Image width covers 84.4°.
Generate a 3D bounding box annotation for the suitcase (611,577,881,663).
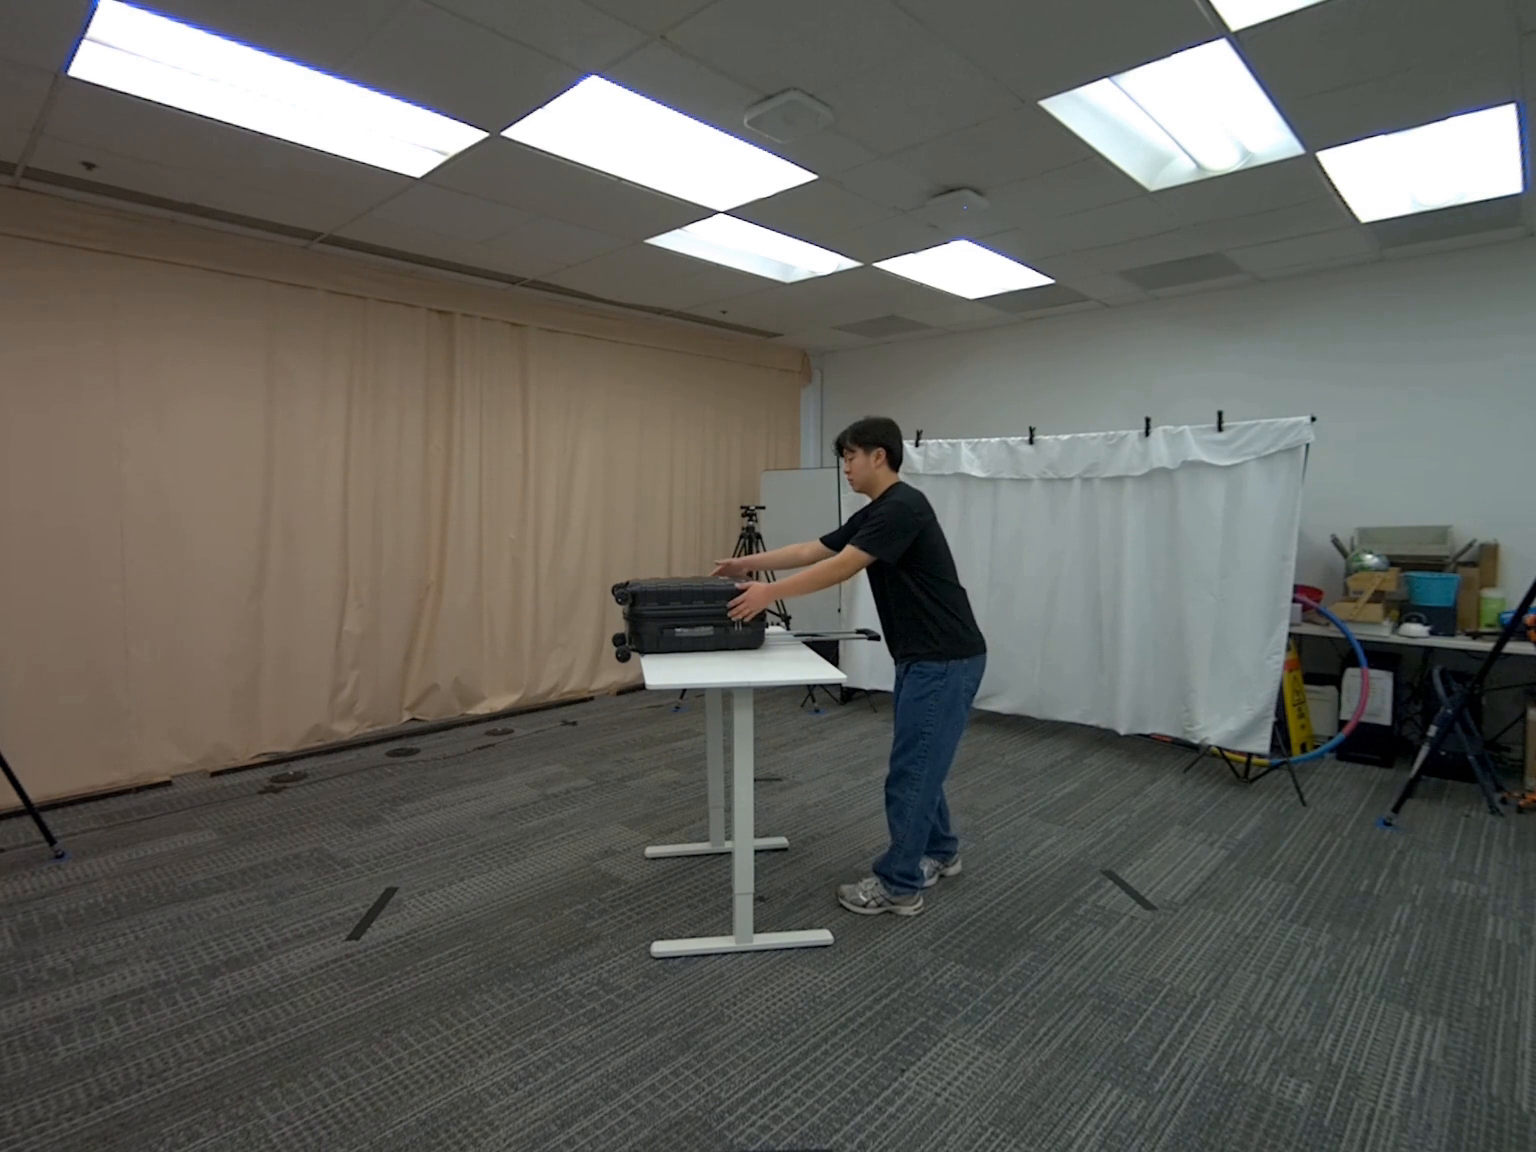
[{"bbox_3d":[-0.082,0.128,3.112,0.968,0.256,0.389,-4,3,-10],"label":"suitcase"}]
